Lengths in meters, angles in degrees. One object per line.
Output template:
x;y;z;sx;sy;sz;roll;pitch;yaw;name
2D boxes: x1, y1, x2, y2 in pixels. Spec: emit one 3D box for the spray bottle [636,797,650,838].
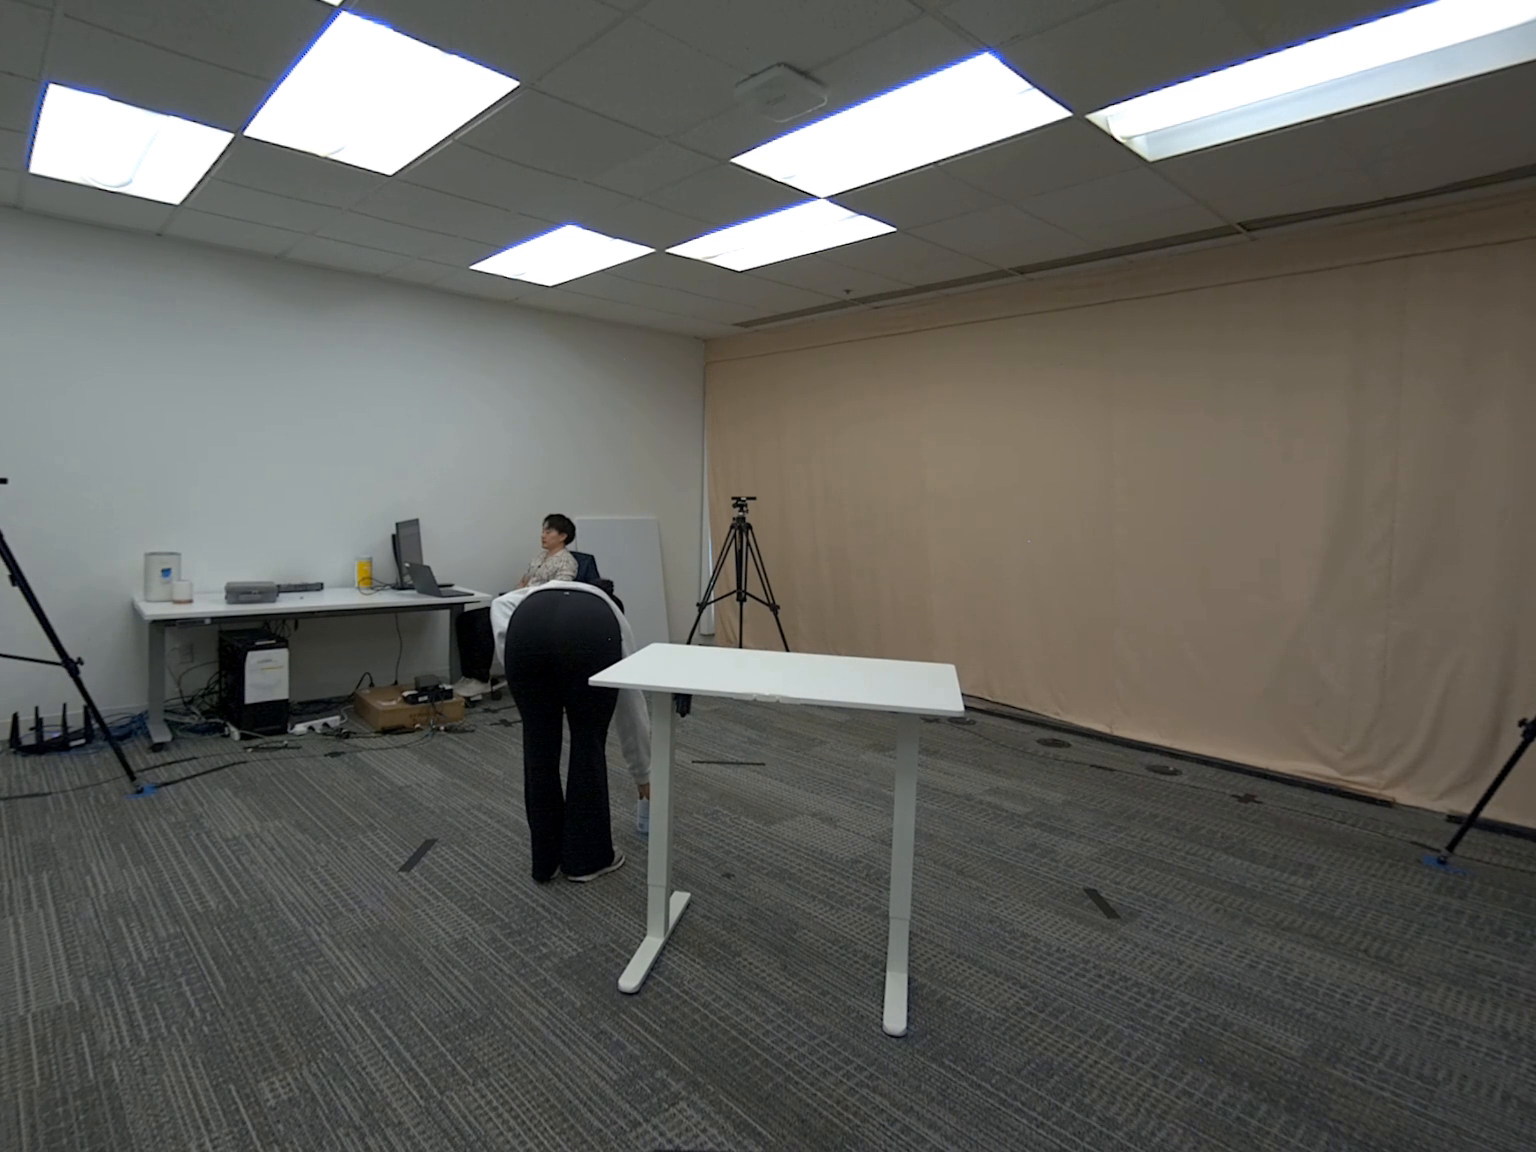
-0.511;0.923;3.495;0.087;0.296;0.090;2;5;7;spray bottle
